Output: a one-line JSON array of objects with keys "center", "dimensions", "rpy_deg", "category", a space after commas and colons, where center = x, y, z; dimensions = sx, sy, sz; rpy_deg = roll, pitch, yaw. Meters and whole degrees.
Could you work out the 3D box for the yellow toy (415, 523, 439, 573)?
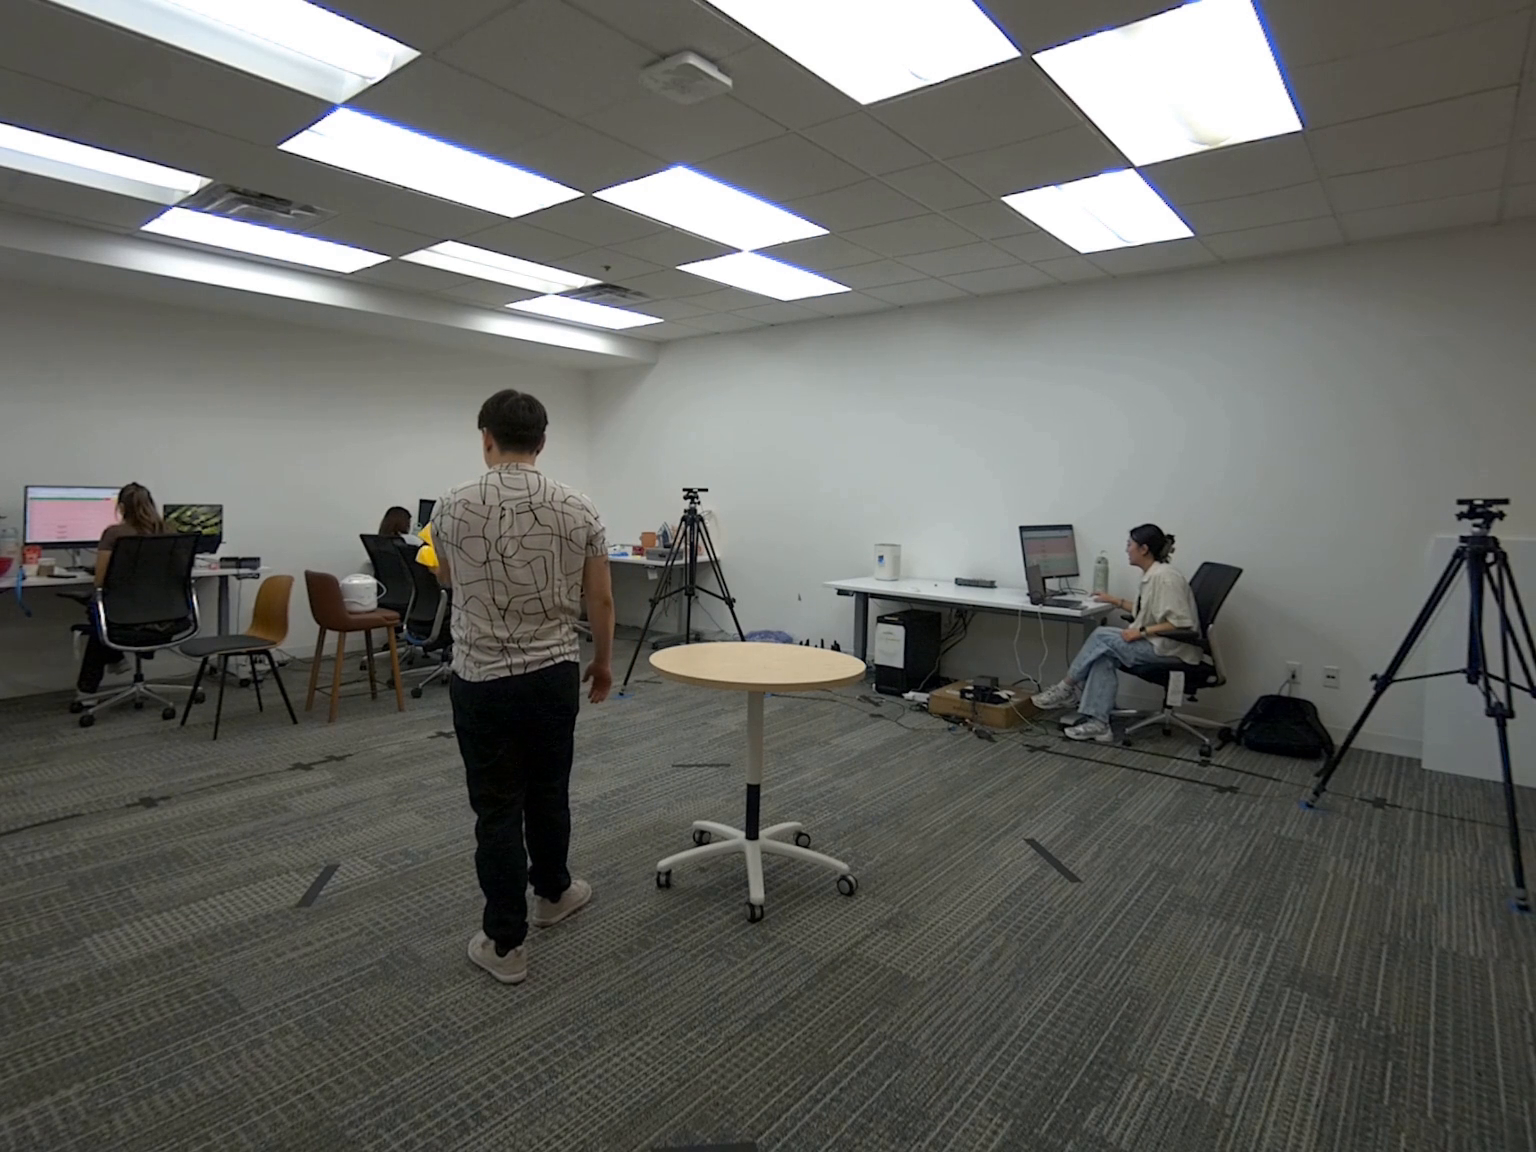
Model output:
[{"center": [-1.086, -0.147, 2.923], "dimensions": [0.198, 0.230, 0.199], "rpy_deg": [11, 1, -29], "category": "yellow toy"}]
